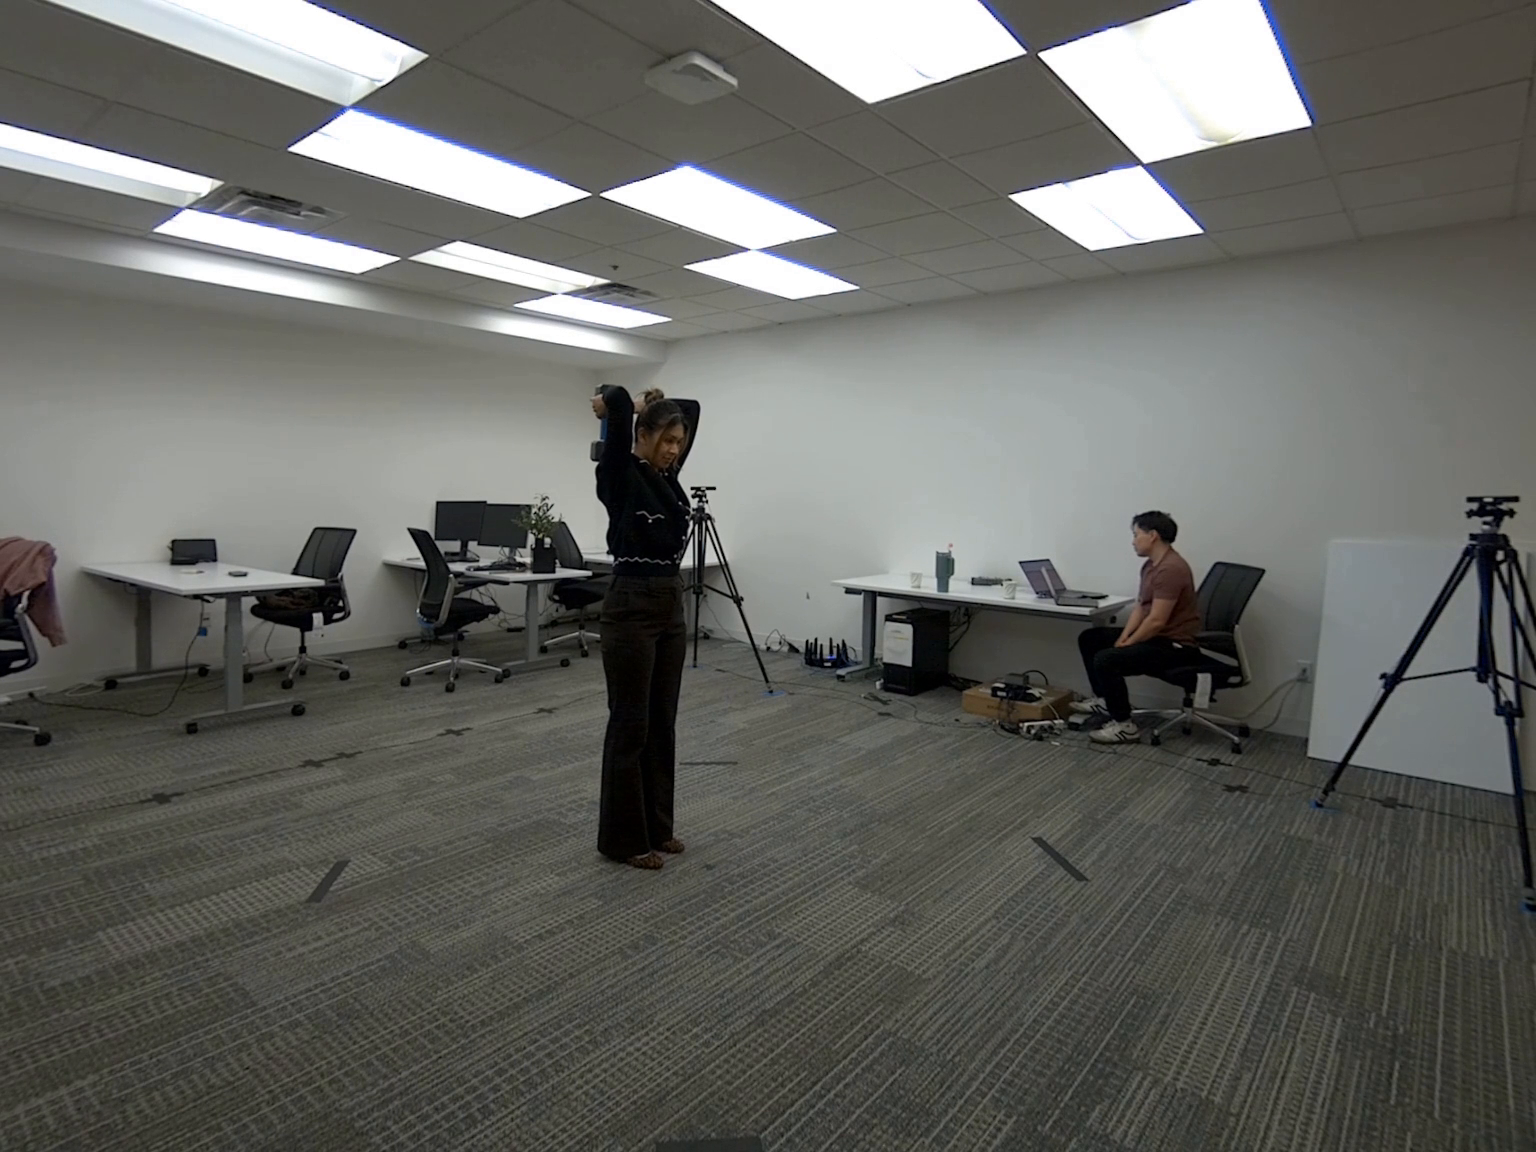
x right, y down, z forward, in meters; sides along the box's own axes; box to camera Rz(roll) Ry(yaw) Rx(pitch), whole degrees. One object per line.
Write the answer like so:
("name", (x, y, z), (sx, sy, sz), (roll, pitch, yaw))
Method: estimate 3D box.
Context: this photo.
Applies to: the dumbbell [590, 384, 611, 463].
("dumbbell", (-0.602, -0.577, 3.236), (0.124, 0.292, 0.108), (4, 6, 4))
